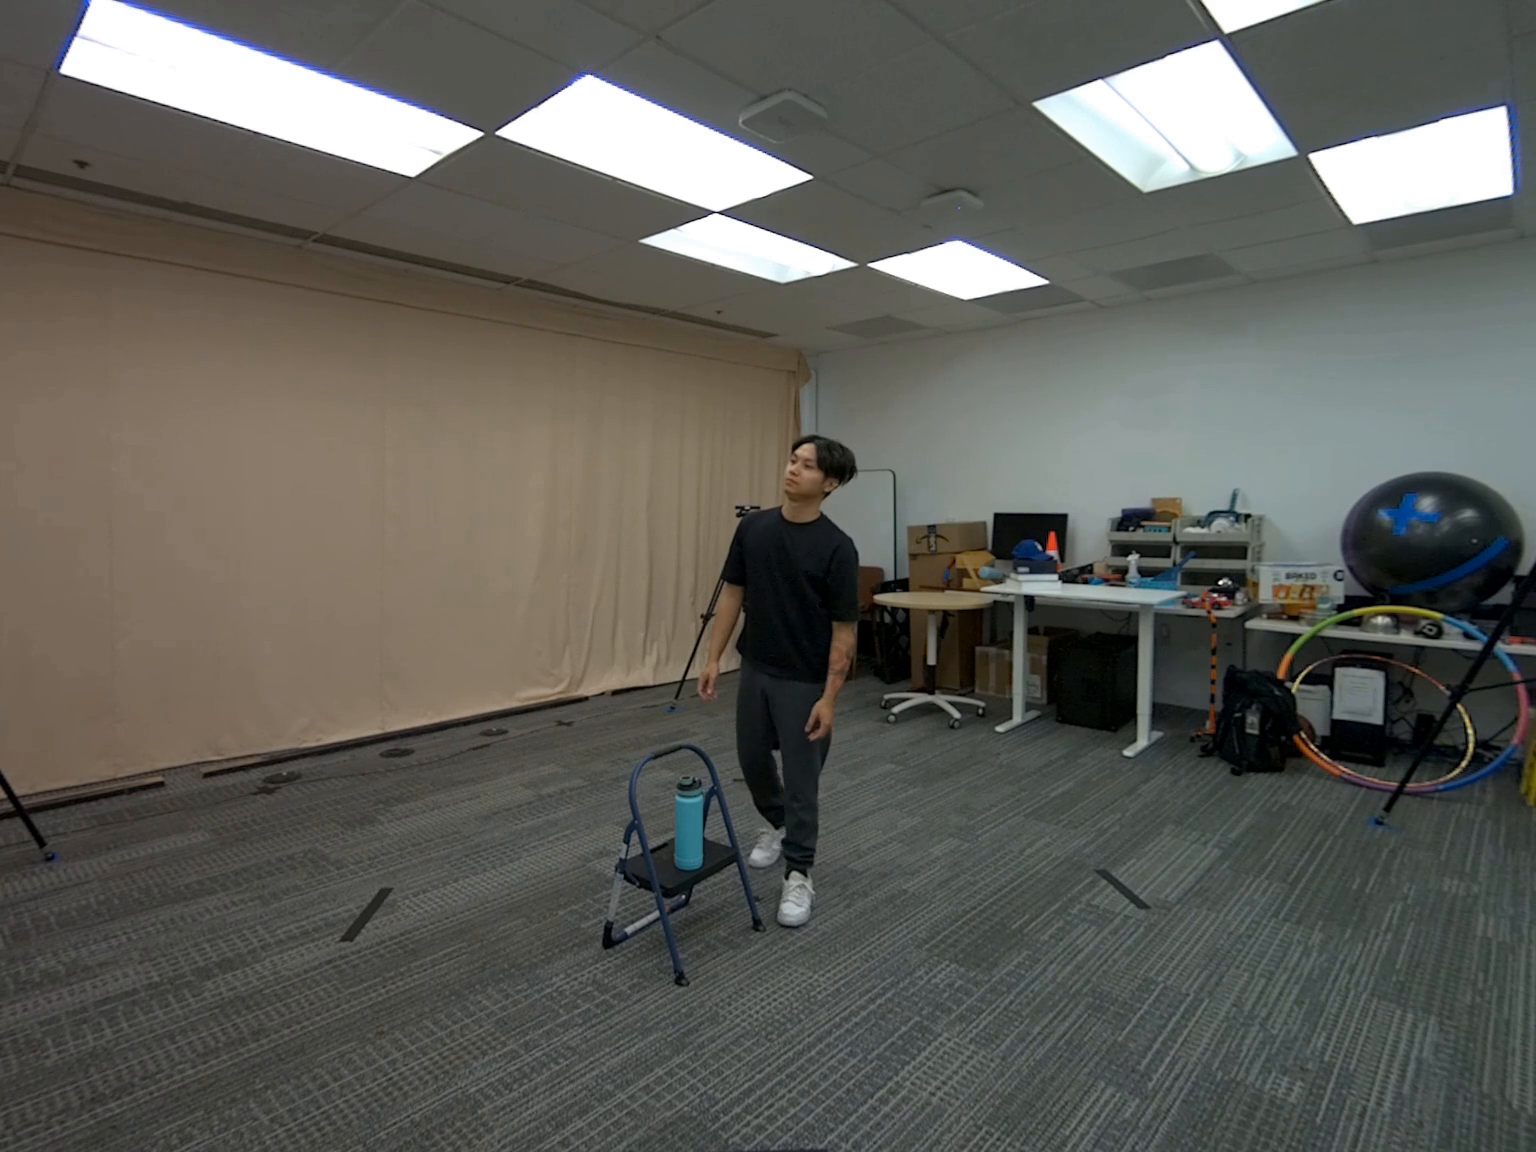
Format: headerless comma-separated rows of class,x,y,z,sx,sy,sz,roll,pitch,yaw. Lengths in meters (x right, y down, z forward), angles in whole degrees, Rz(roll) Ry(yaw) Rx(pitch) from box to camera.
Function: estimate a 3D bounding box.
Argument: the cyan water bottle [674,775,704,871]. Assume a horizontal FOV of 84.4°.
cyan water bottle,-0.253,0.775,2.649,0.092,0.282,0.093,0,5,-2
